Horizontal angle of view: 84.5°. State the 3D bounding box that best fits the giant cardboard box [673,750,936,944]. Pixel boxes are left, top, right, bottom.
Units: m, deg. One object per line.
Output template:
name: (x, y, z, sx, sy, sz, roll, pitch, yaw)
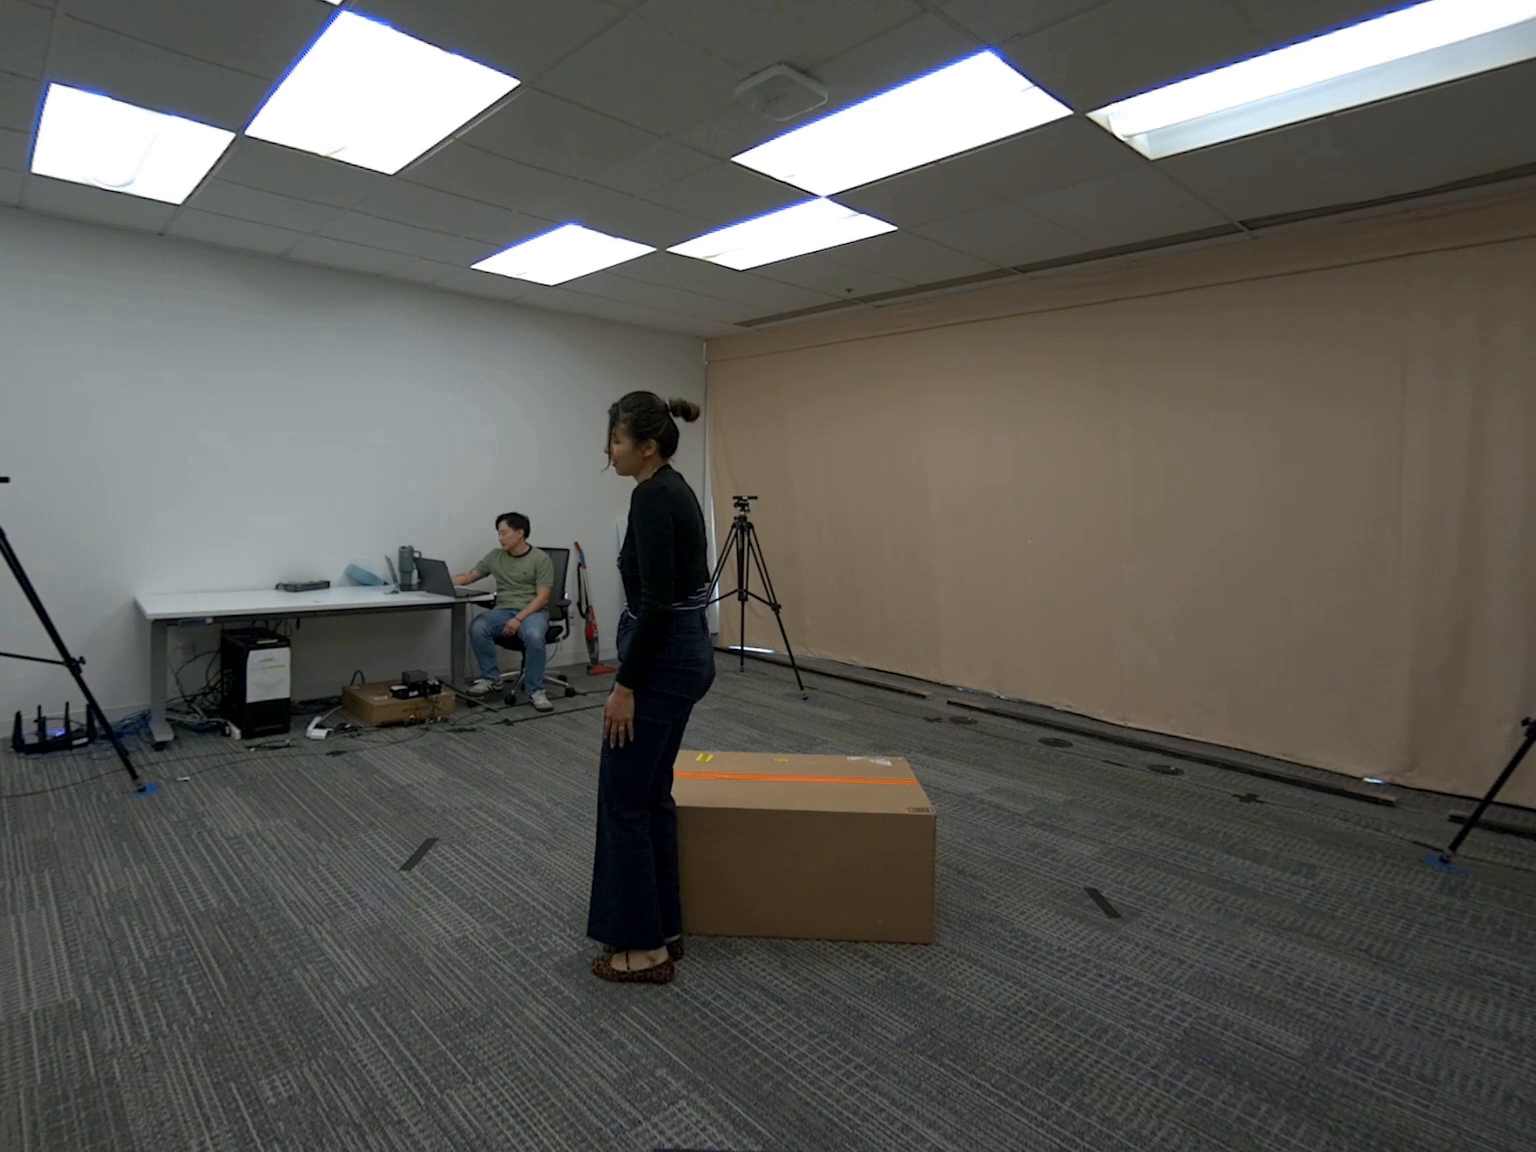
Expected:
giant cardboard box: (0.009, 0.909, 2.926, 1.027, 0.425, 0.578, 1, 4, 1)
